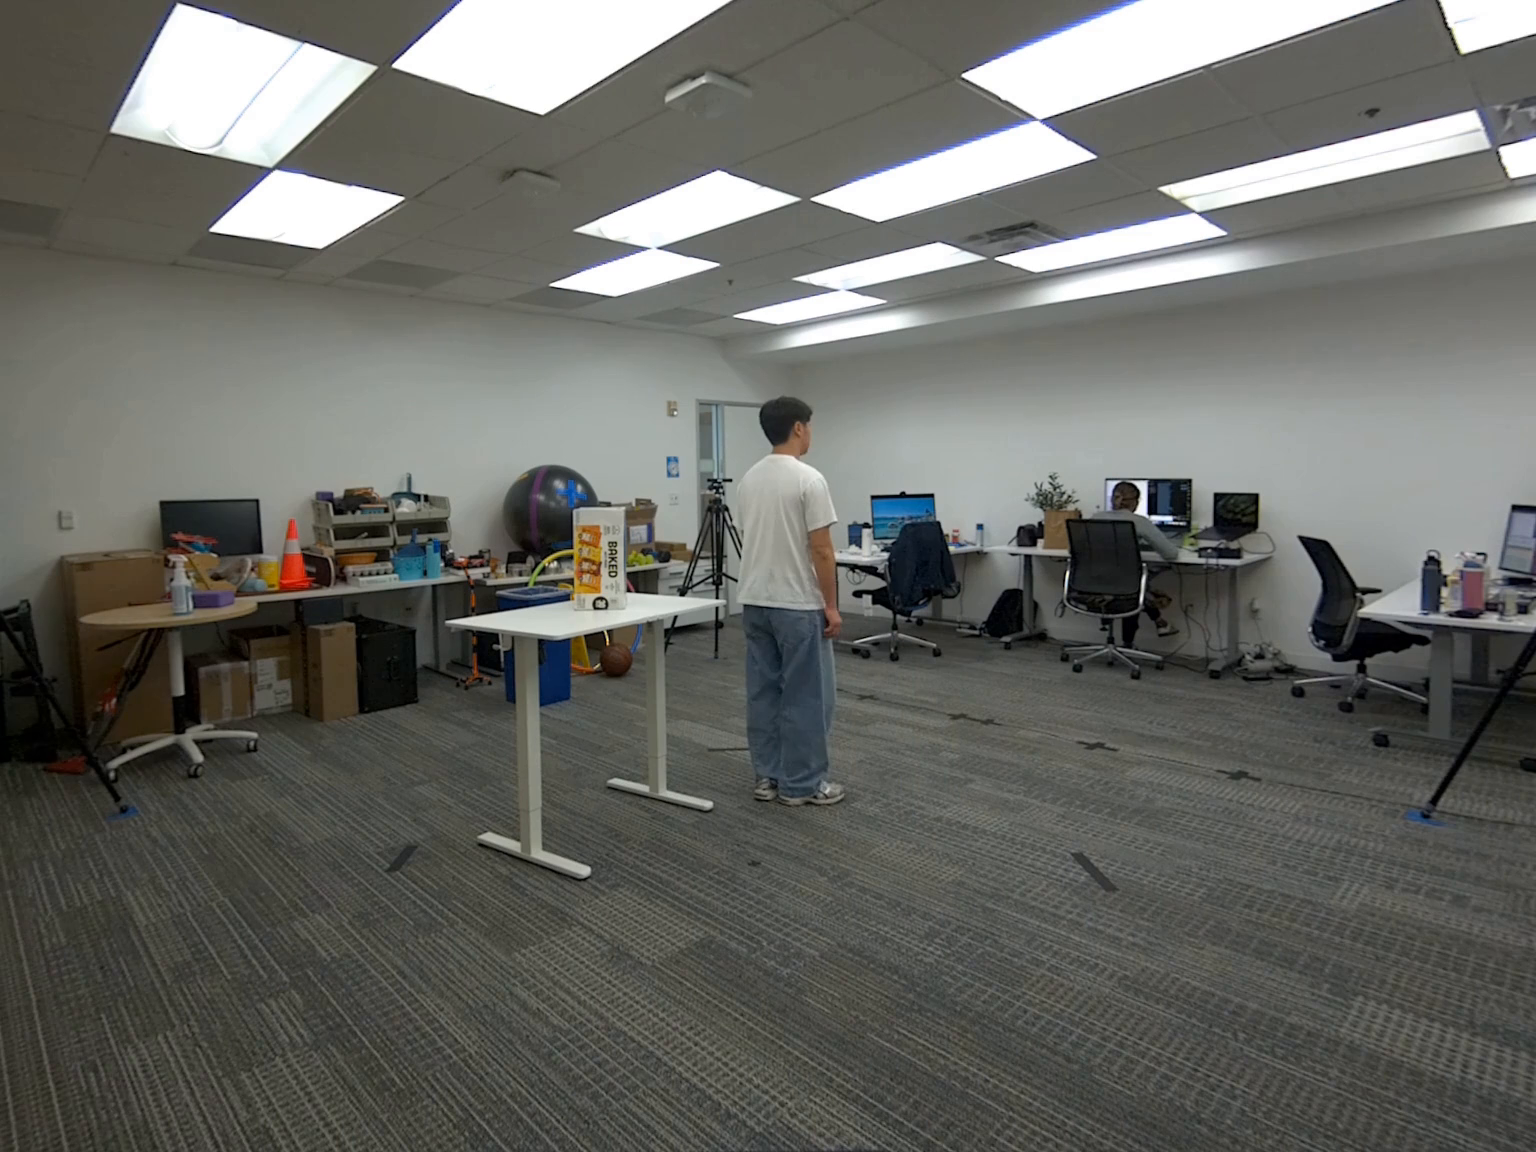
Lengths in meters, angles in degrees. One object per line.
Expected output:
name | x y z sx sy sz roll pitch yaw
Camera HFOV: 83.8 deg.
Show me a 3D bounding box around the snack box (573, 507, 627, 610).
snack box | -0.700 -0.083 3.595 0.205 0.403 0.343 -1 5 -6
